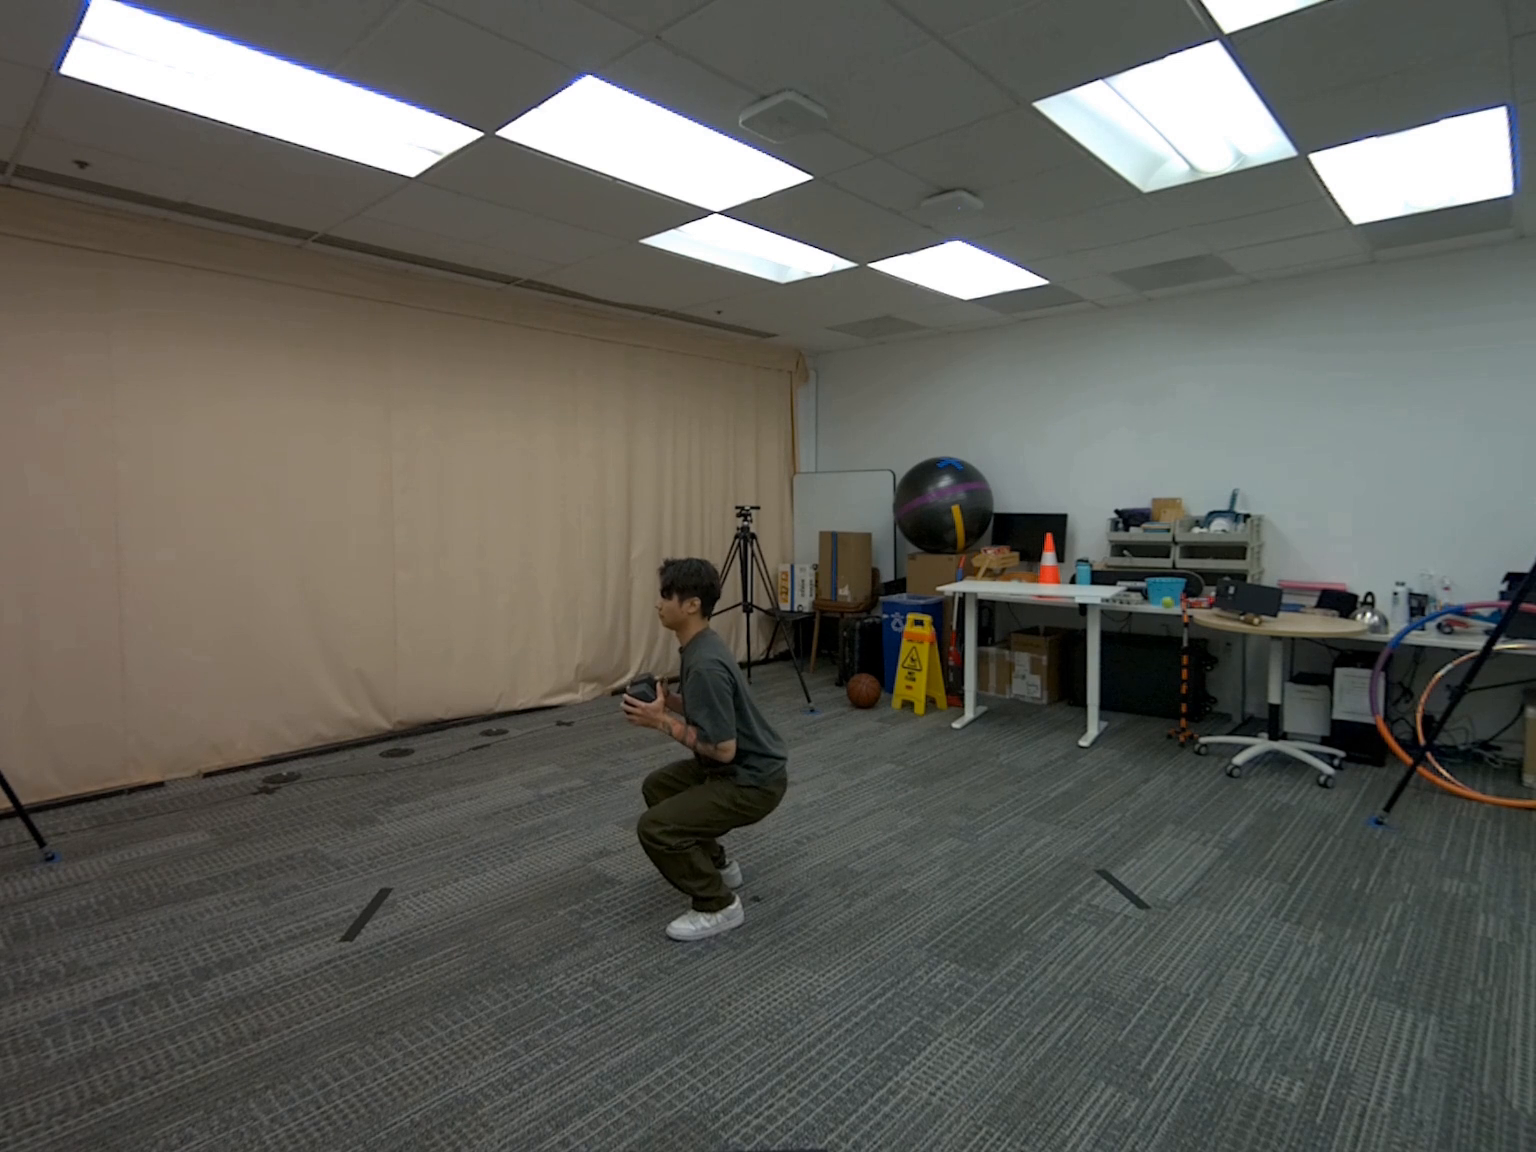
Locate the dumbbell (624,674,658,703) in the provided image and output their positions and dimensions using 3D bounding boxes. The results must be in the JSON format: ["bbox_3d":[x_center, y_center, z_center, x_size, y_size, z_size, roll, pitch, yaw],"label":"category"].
[{"bbox_3d":[-0.424,0.413,2.907,0.122,0.109,0.295,44,1,-7],"label":"dumbbell"}]
